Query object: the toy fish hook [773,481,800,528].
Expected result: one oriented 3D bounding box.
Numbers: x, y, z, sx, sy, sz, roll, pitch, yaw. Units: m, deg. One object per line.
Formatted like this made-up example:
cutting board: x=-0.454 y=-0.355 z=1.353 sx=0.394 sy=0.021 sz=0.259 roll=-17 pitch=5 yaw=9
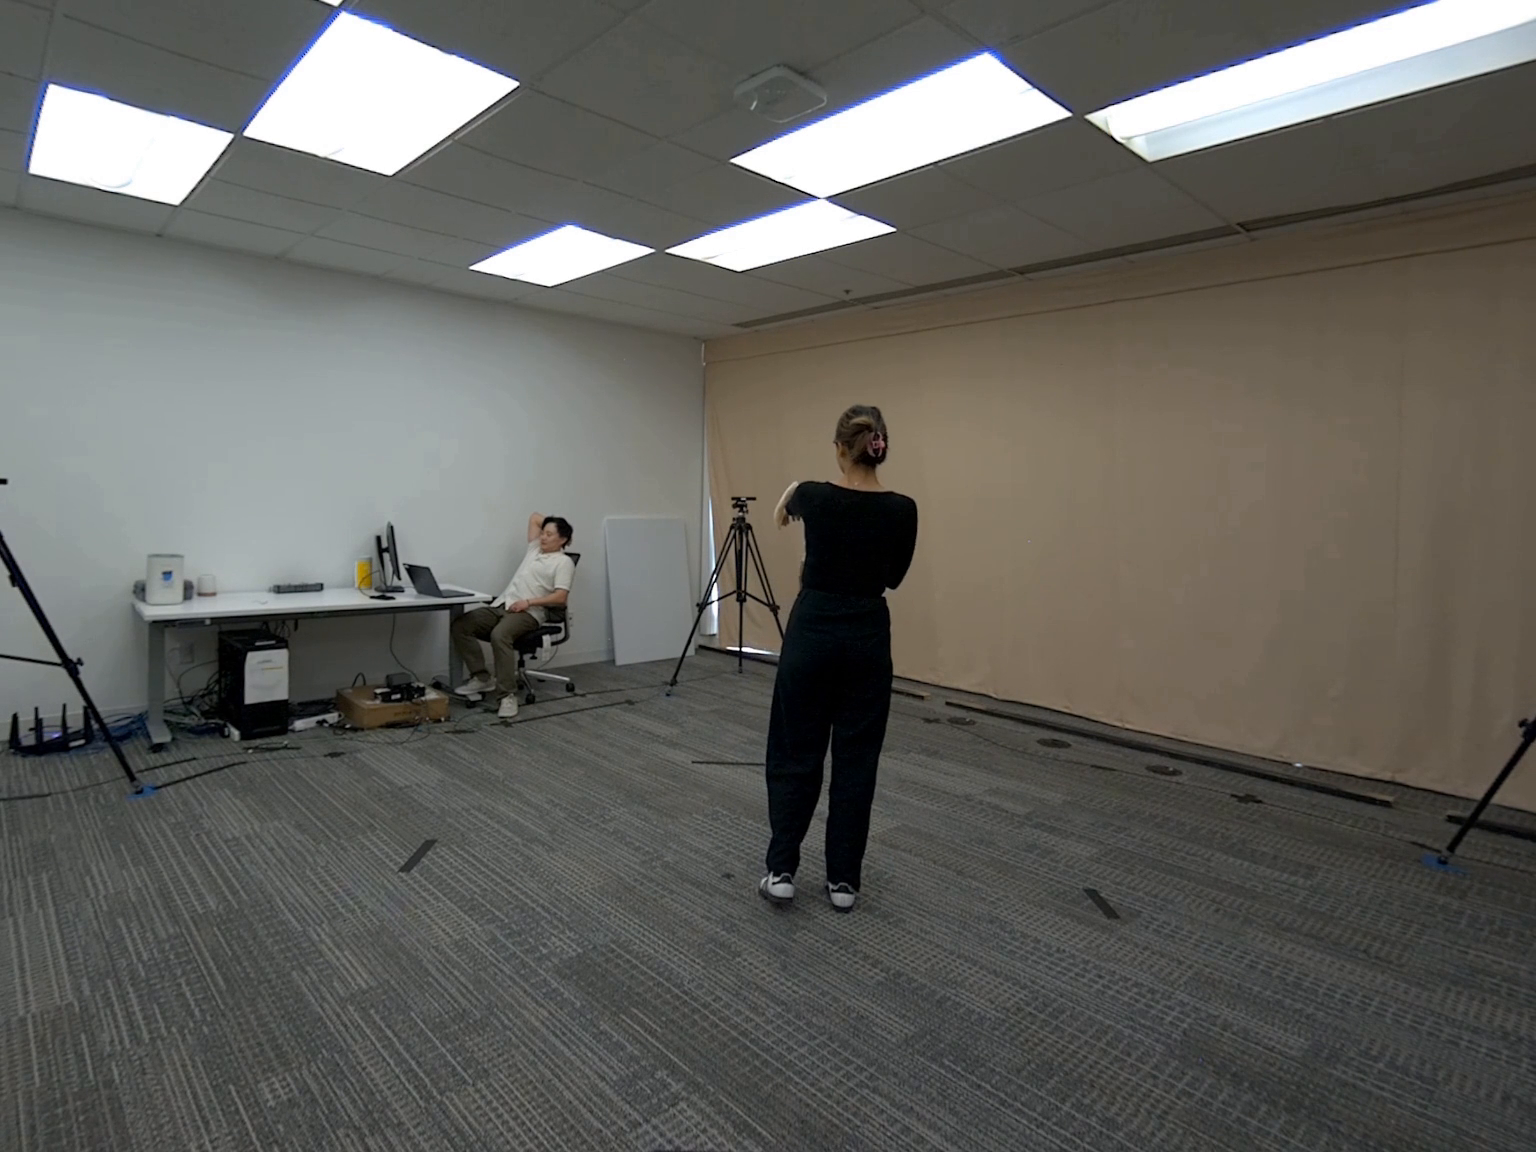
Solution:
toy fish hook: x=0.106 y=-0.109 z=3.341 sx=0.223 sy=0.506 sz=0.049 roll=5 pitch=2 yaw=-8
